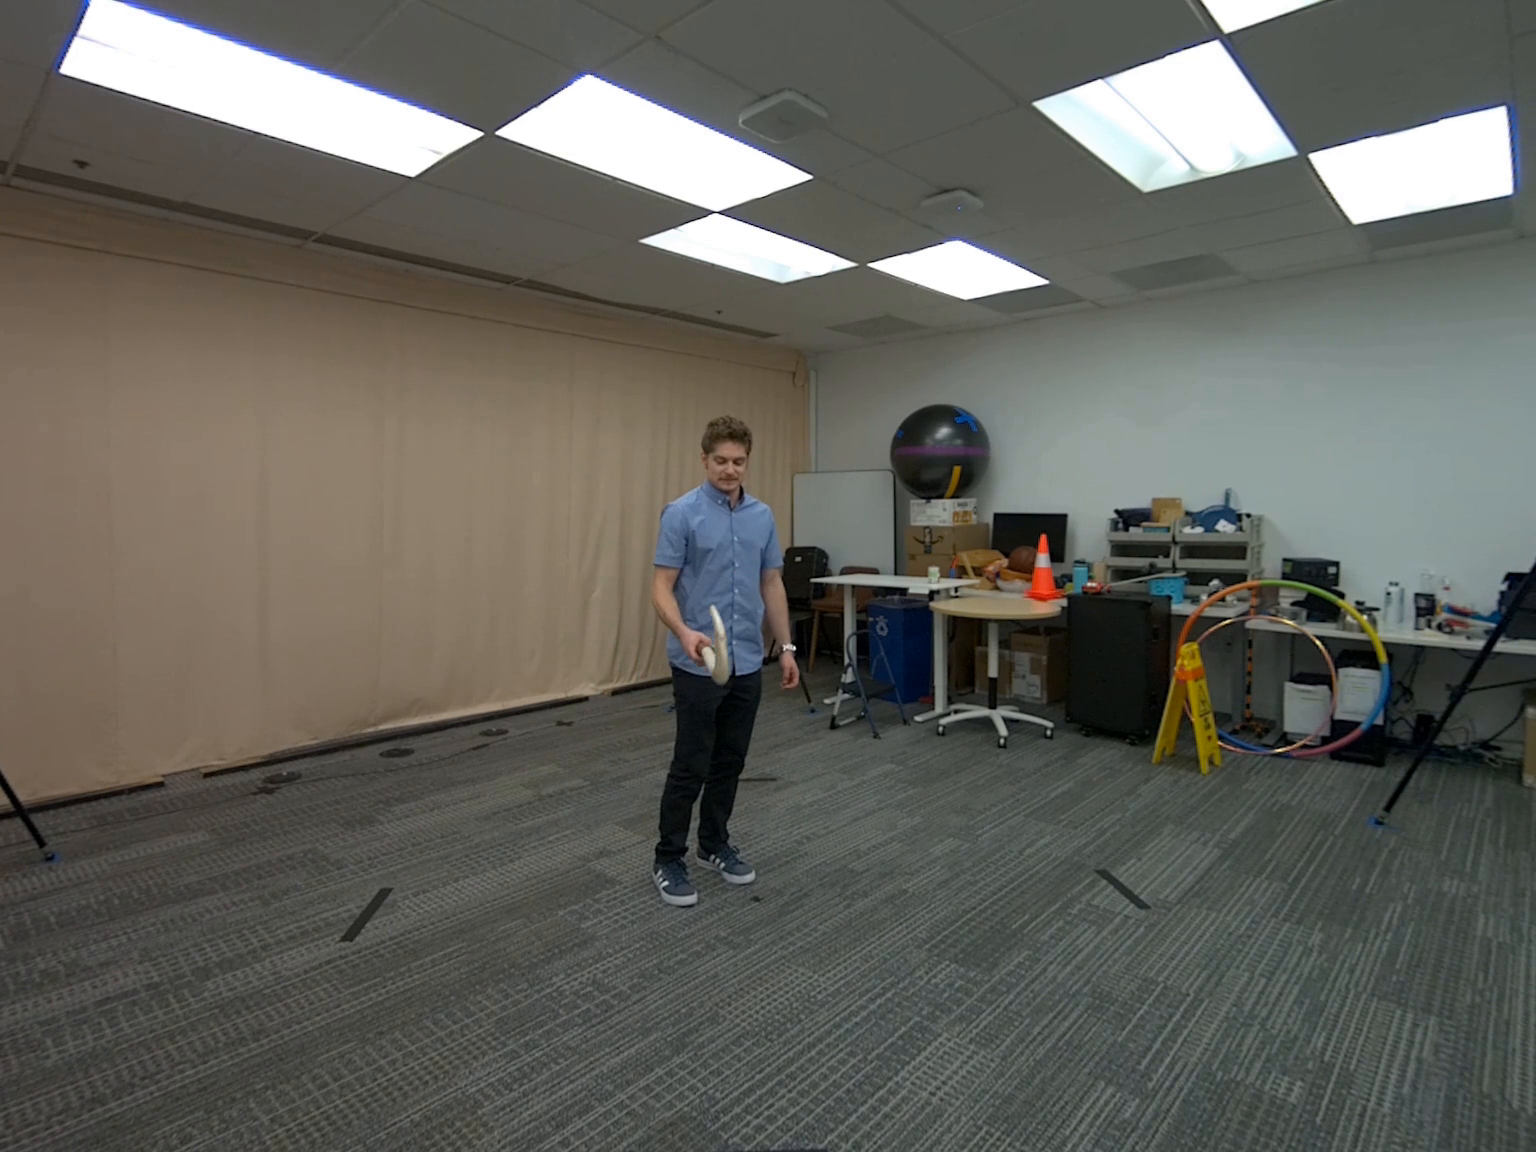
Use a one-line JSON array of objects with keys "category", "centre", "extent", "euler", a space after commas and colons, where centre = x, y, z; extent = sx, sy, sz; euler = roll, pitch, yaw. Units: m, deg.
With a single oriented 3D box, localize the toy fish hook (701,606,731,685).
[{"category": "toy fish hook", "centre": [-0.162, 0.192, 2.593], "extent": [0.048, 0.224, 0.510], "euler": [6, 1, -8]}]
